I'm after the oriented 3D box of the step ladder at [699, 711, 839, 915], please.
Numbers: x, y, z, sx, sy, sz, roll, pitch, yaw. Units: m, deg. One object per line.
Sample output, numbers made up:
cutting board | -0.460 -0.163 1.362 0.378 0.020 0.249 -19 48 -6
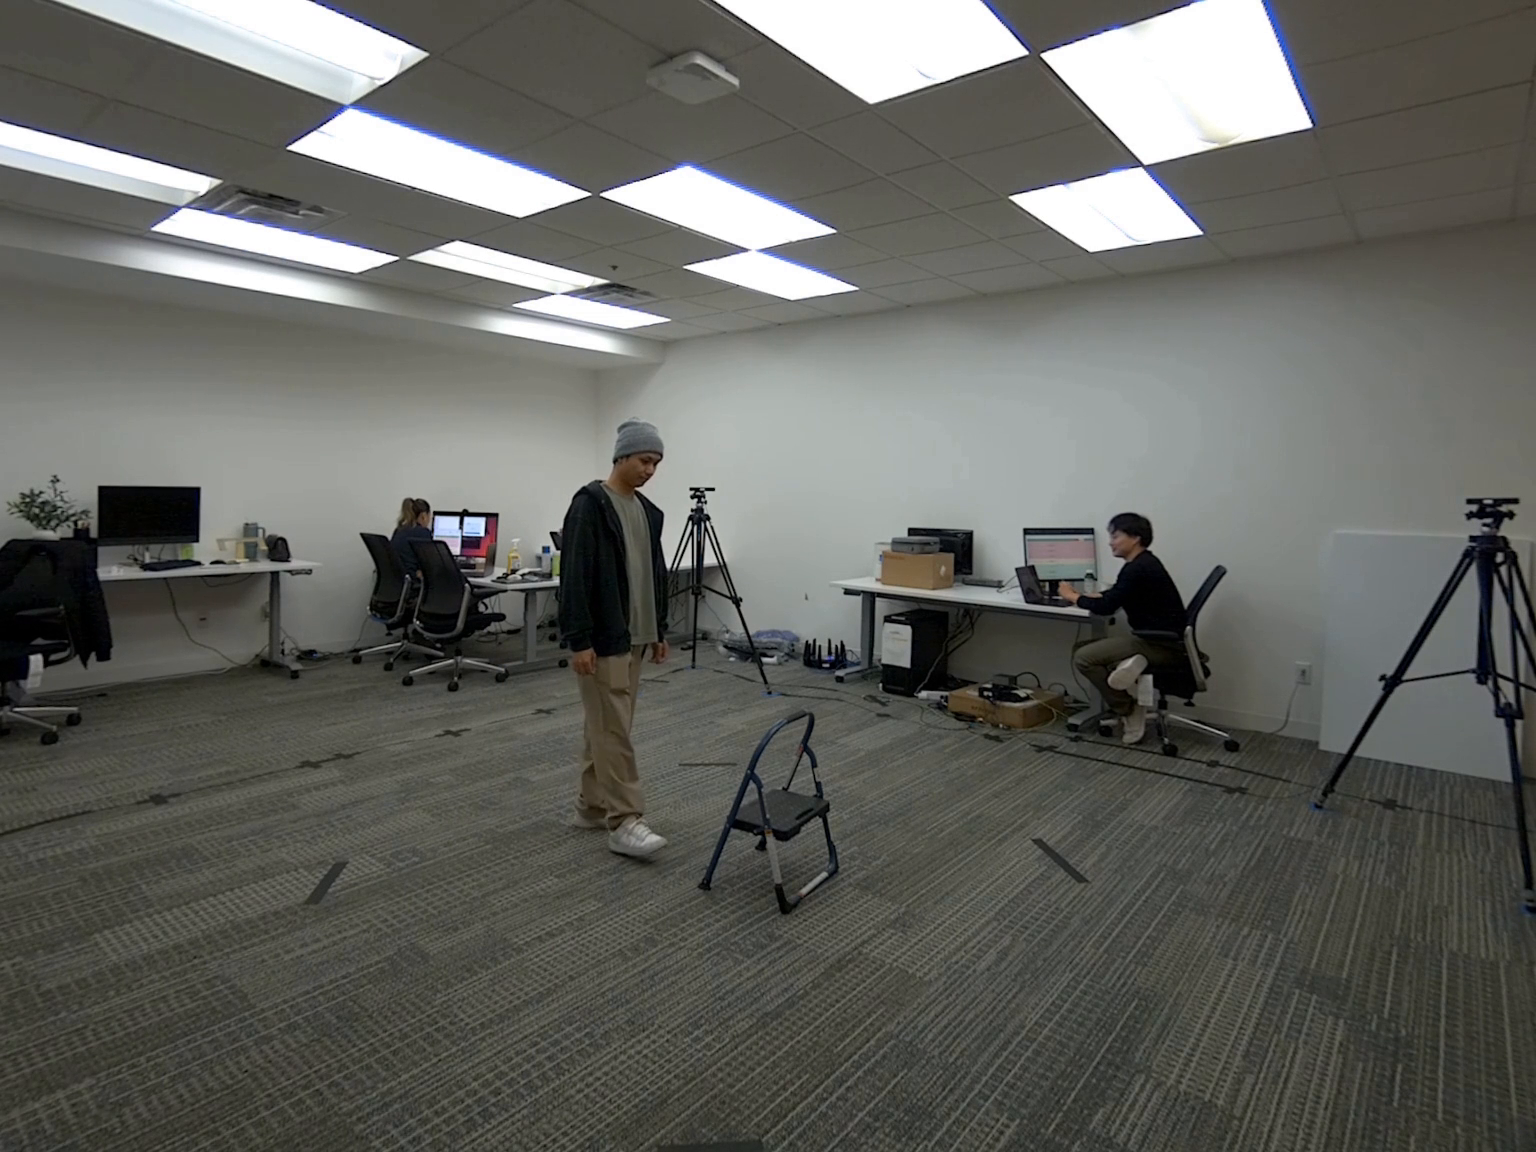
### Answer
step ladder | 0.010 0.775 3.022 0.360 0.604 0.419 3 4 30
